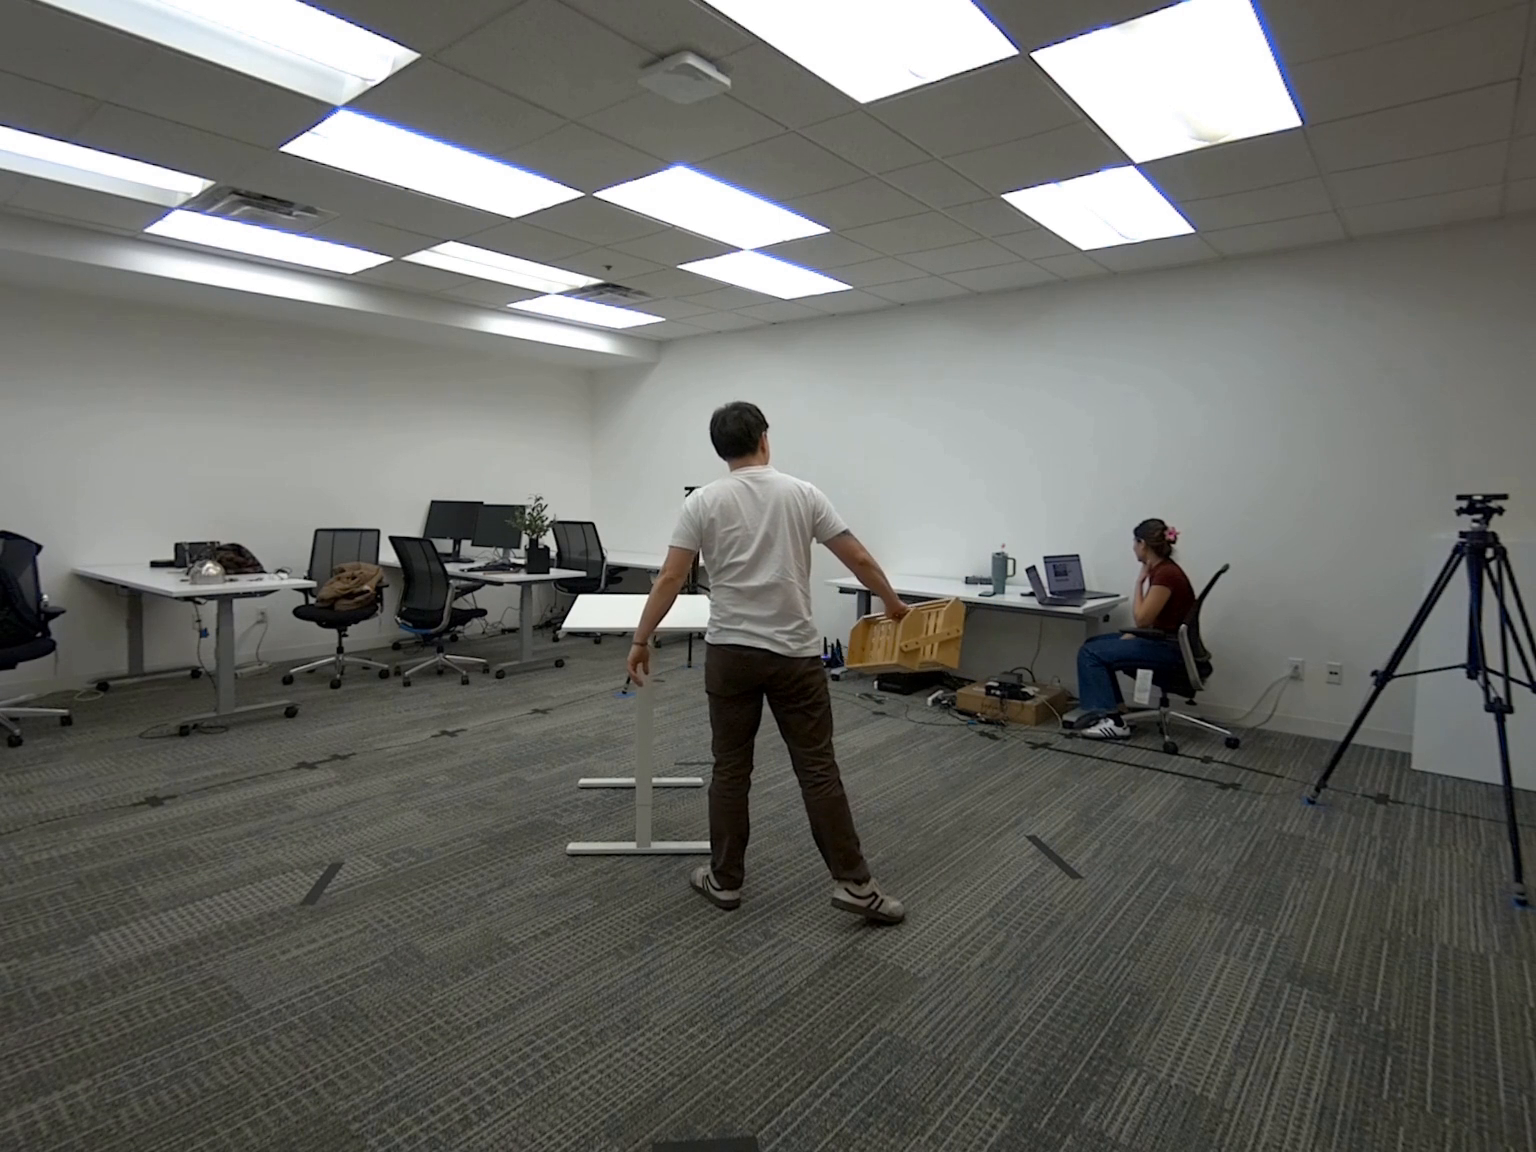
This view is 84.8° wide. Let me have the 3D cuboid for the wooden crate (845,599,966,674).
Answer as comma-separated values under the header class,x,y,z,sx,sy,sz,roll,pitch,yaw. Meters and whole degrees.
class,x,y,z,sx,sy,sz,roll,pitch,yaw
wooden crate,0.470,0.199,3.044,0.265,0.305,0.330,20,-18,-26
